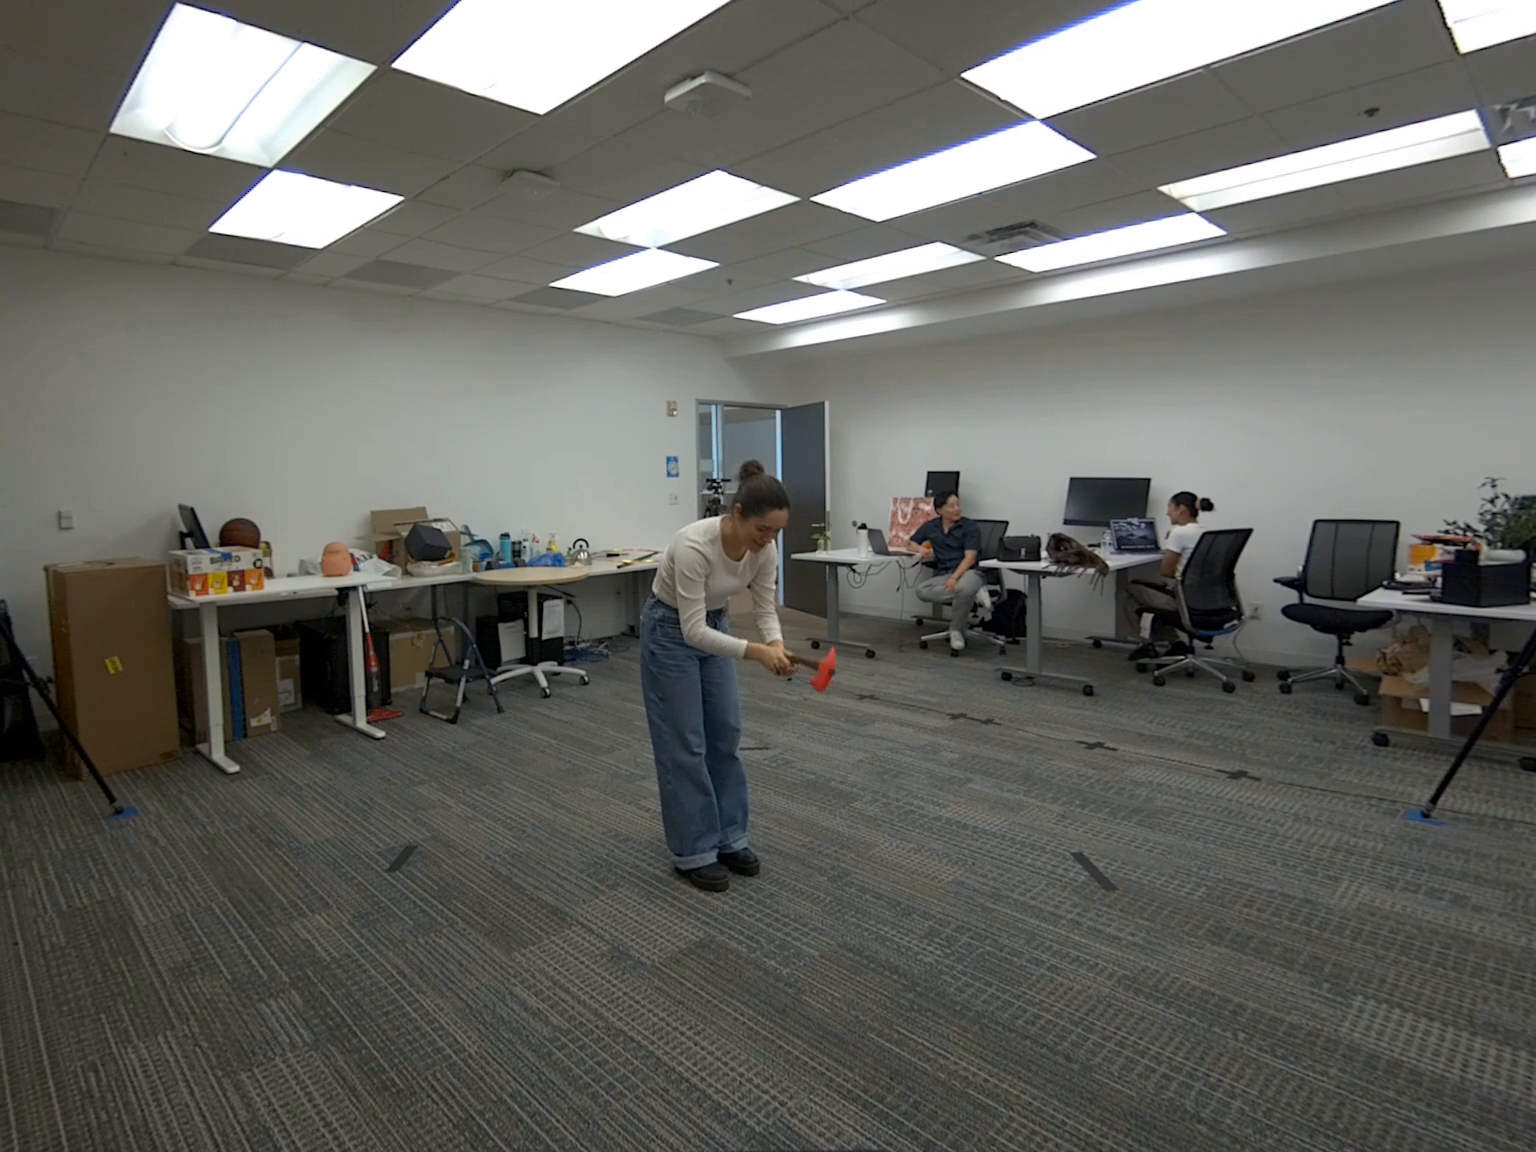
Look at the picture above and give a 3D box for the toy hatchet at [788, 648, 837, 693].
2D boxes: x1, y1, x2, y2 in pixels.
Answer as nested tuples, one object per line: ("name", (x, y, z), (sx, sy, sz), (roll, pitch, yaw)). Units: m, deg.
("toy hatchet", (0.111, 0.298, 2.619), (0.028, 0.133, 0.275), (16, -23, -37))
